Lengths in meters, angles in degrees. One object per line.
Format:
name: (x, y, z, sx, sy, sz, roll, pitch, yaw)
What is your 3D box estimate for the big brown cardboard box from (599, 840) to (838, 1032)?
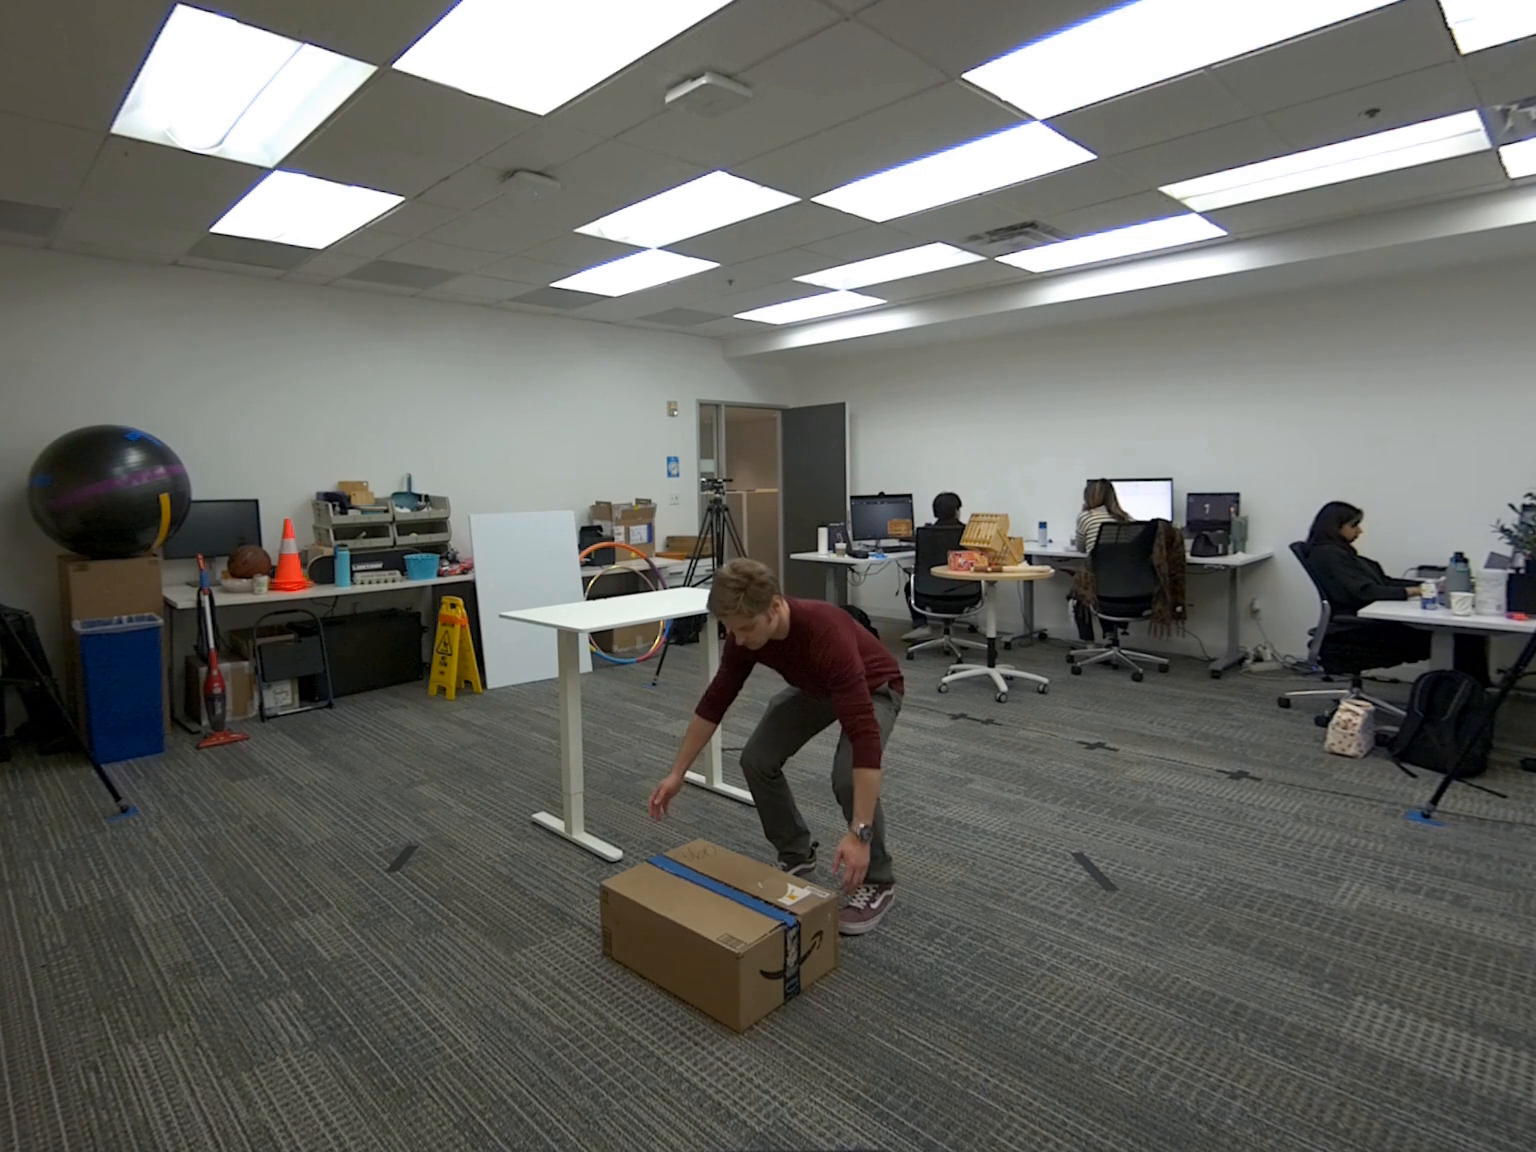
big brown cardboard box: (-0.143, 1.013, 2.479, 0.607, 0.232, 0.407, 4, 8, 42)
